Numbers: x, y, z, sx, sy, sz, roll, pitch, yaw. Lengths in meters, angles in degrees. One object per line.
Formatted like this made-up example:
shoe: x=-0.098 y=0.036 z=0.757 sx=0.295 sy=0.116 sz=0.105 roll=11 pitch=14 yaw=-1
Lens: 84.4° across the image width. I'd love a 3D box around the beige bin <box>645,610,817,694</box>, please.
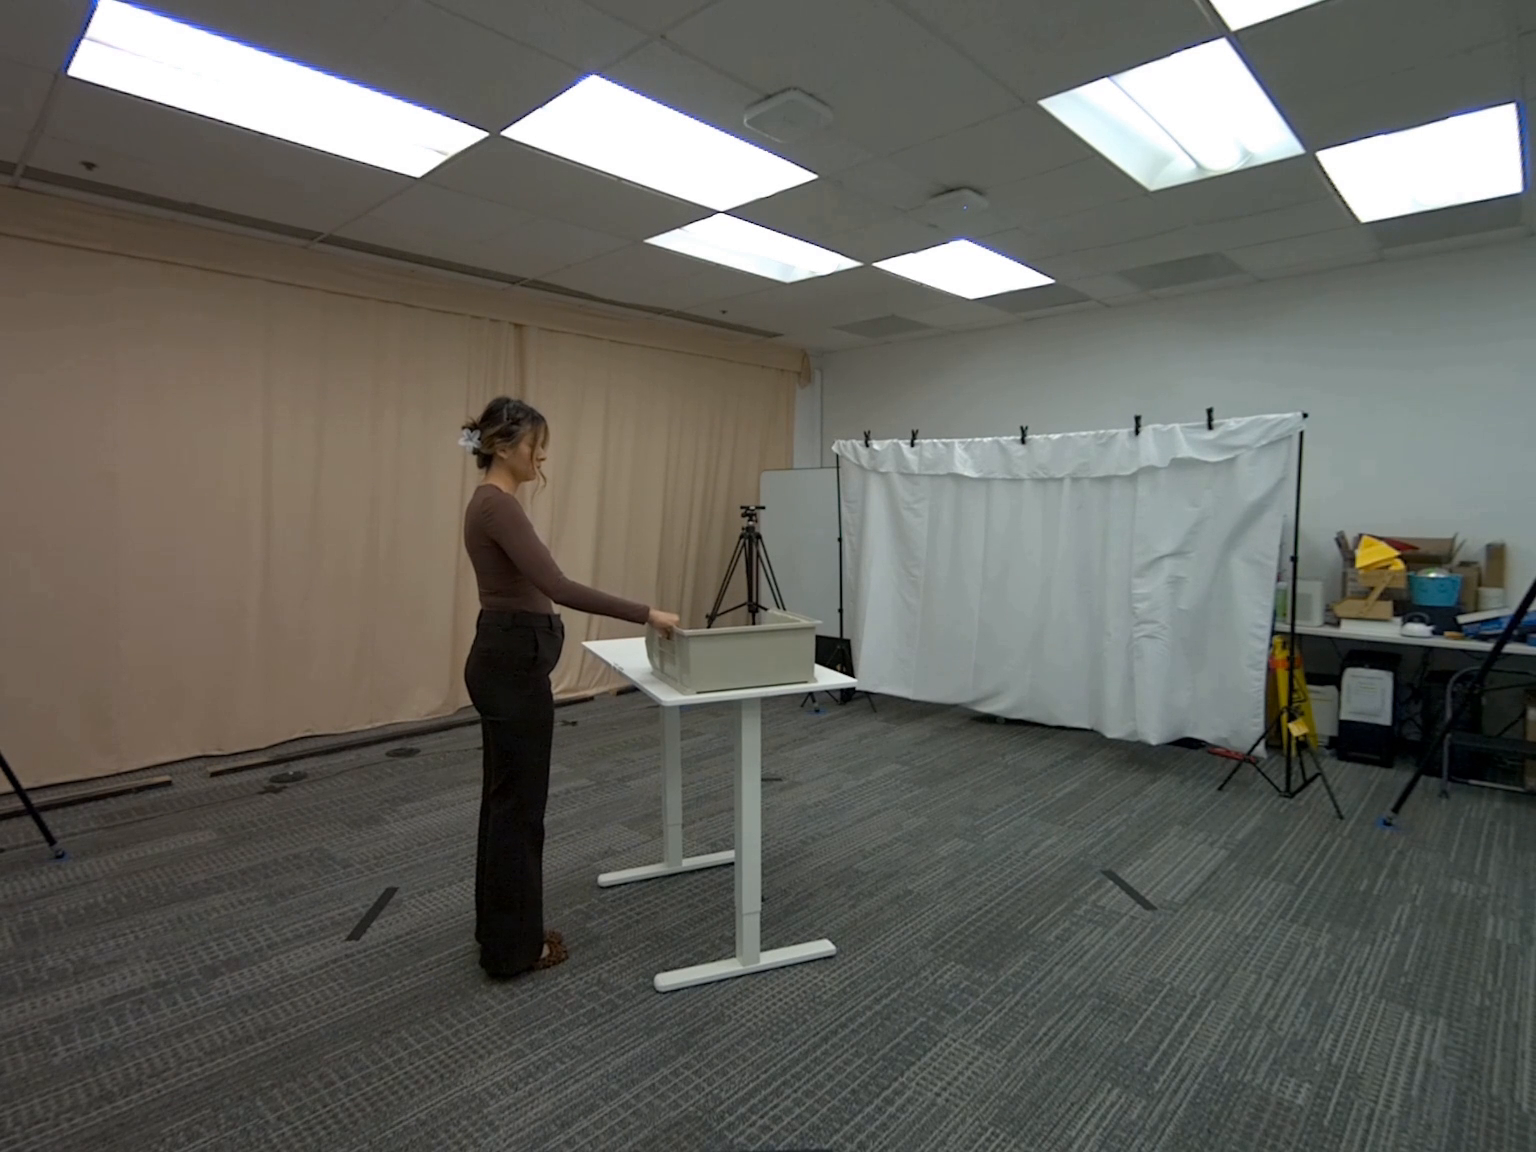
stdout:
beige bin: x=-0.112 y=0.219 z=2.511 sx=0.413 sy=0.188 sz=0.387 roll=-2 pitch=6 yaw=-23
